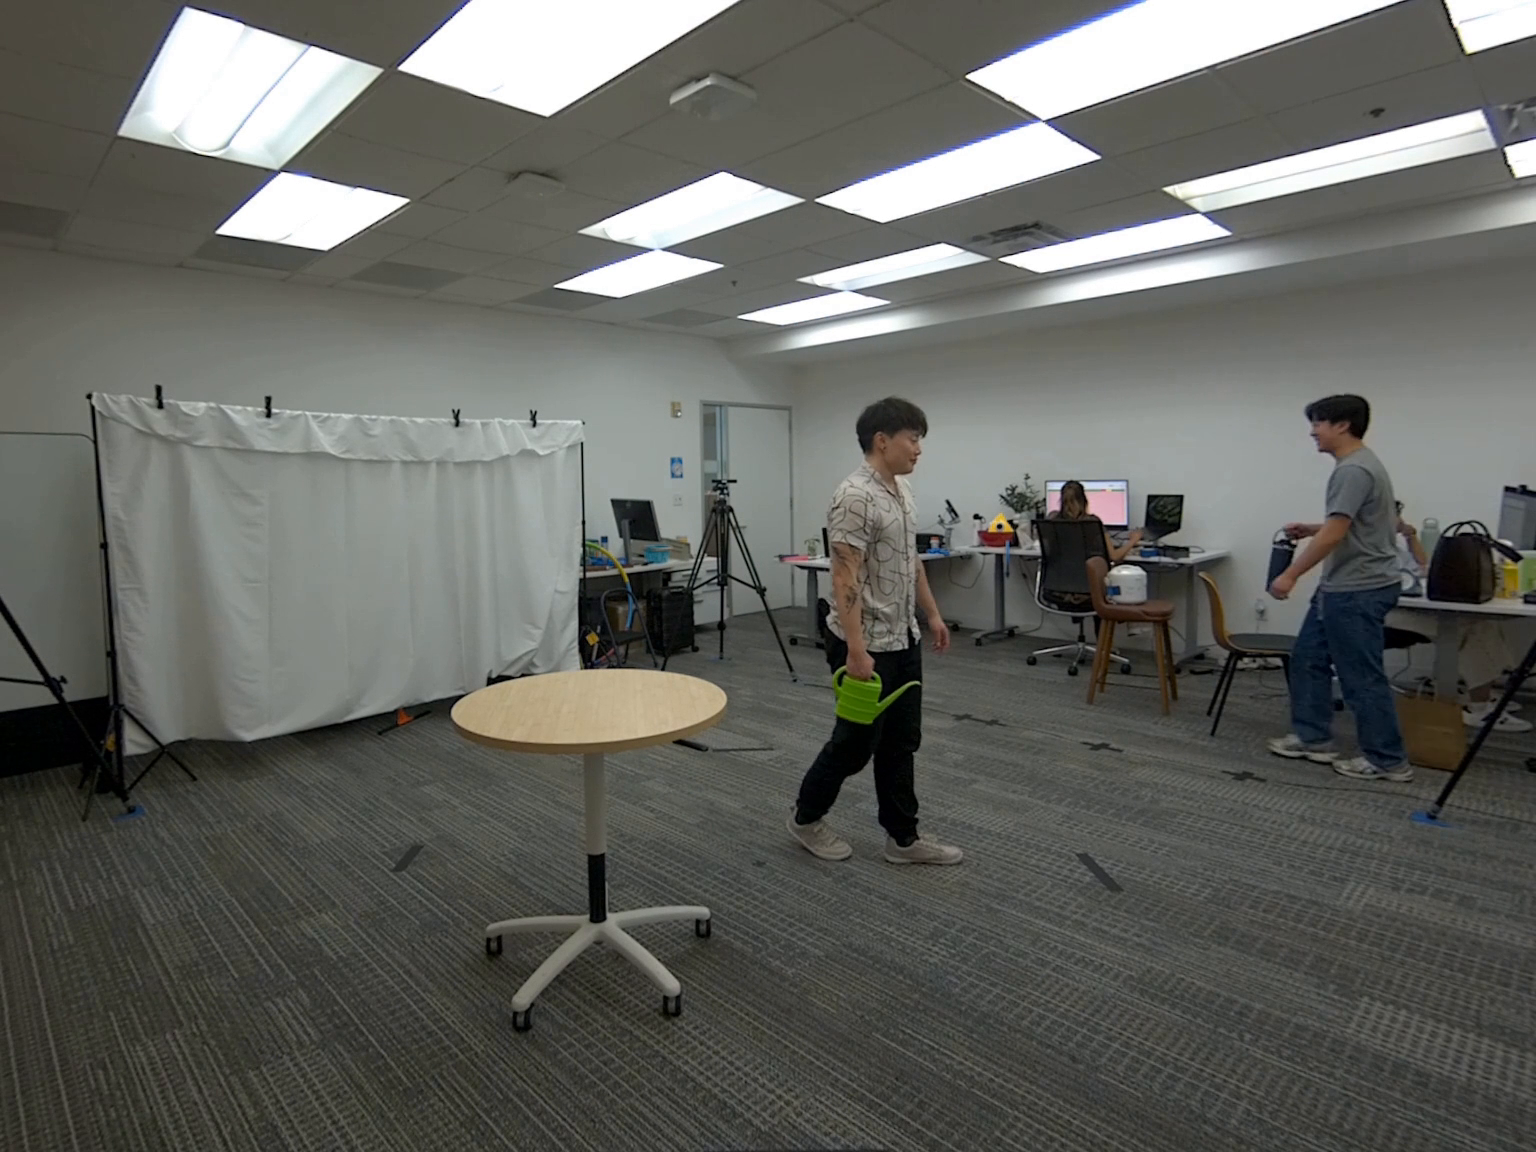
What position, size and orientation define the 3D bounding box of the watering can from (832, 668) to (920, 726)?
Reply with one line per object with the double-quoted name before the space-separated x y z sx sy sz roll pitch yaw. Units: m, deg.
"watering can" 0.357 0.402 2.809 0.285 0.176 0.096 14 6 21
